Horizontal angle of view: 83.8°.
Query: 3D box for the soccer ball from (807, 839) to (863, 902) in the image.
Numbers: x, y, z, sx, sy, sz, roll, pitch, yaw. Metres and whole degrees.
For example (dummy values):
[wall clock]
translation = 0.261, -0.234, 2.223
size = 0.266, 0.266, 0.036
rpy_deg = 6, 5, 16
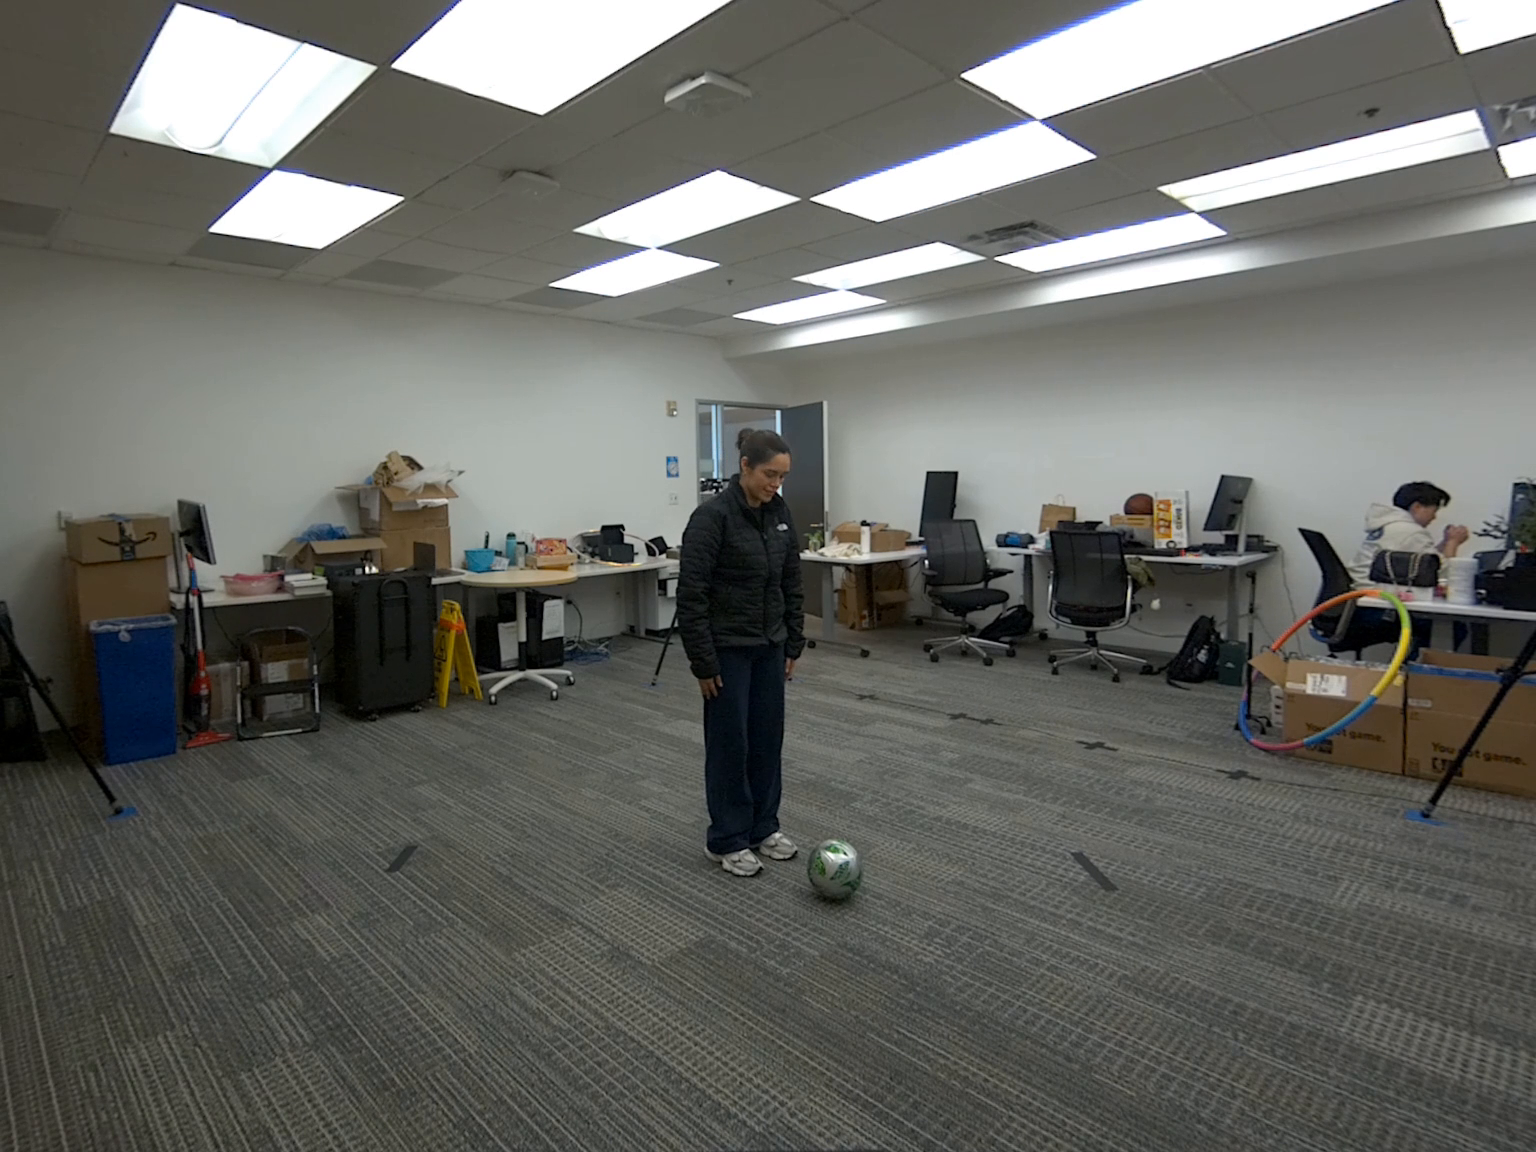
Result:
[soccer ball]
translation = 0.230, 0.976, 2.845
size = 0.187, 0.187, 0.188
rpy_deg = -1, 5, -2
